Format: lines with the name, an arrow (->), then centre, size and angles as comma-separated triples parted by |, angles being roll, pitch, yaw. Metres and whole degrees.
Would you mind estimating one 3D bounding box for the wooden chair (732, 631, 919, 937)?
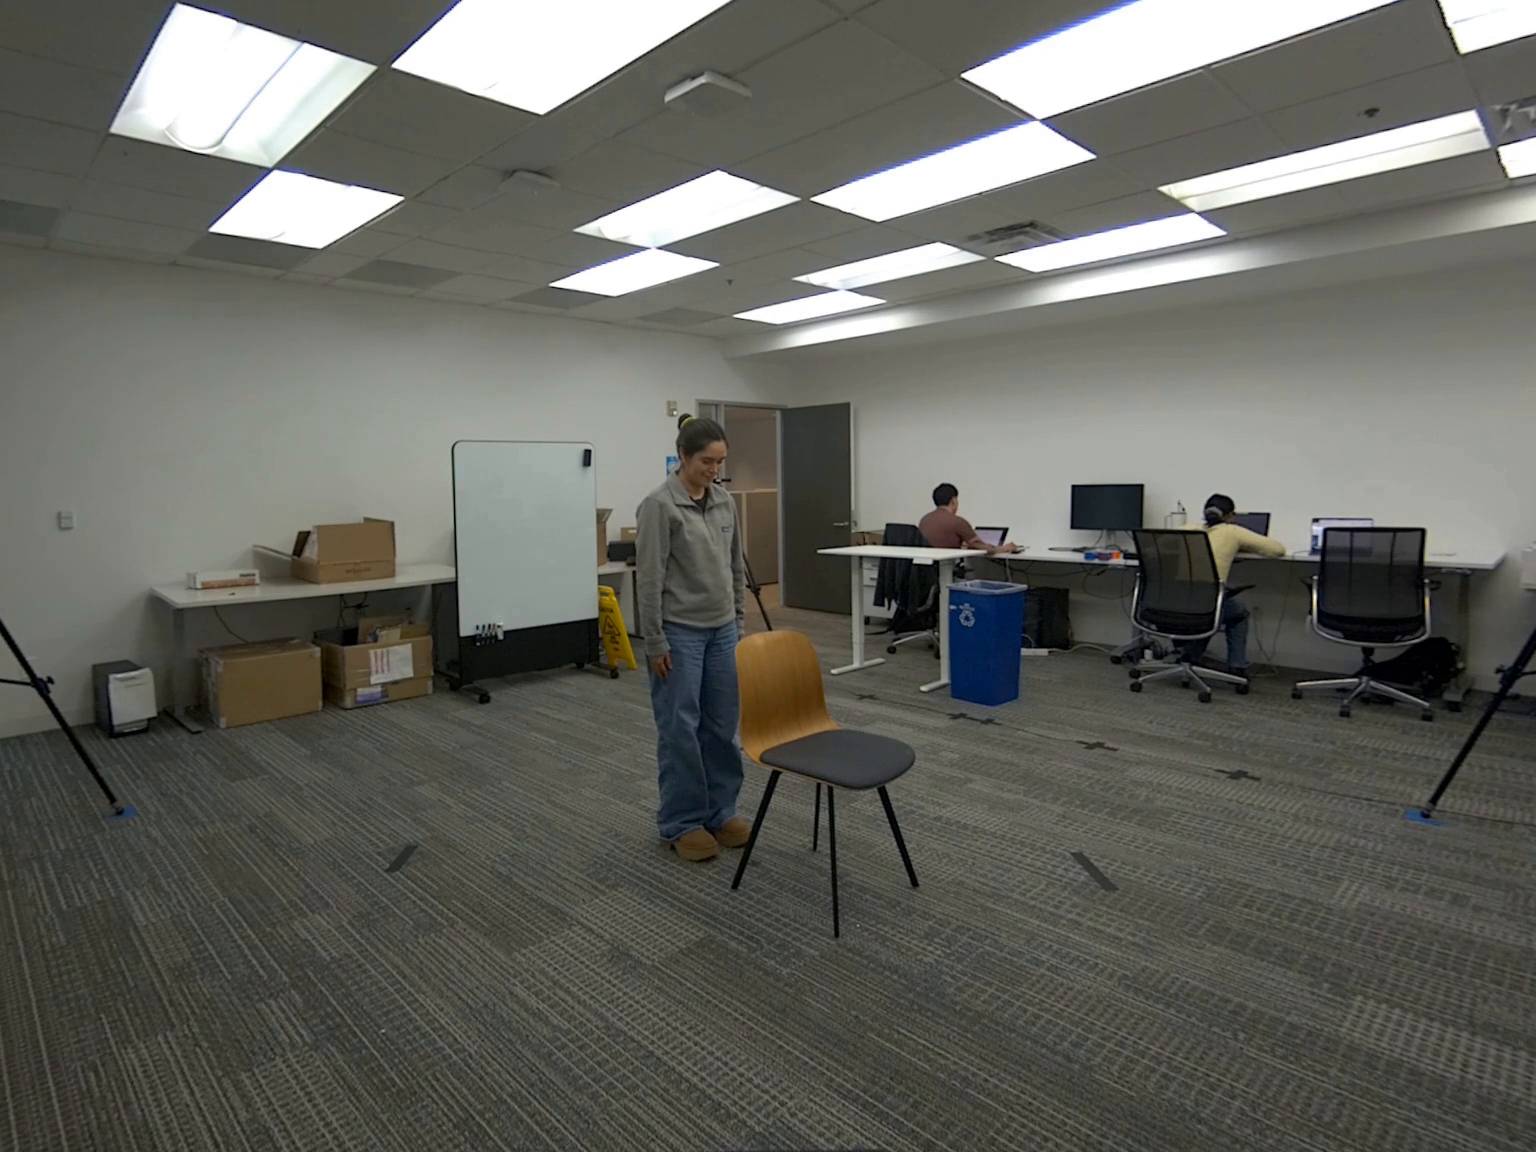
wooden chair -> 0.193, 0.638, 2.870 | 0.537, 0.877, 0.465 | -3, 1, 44
